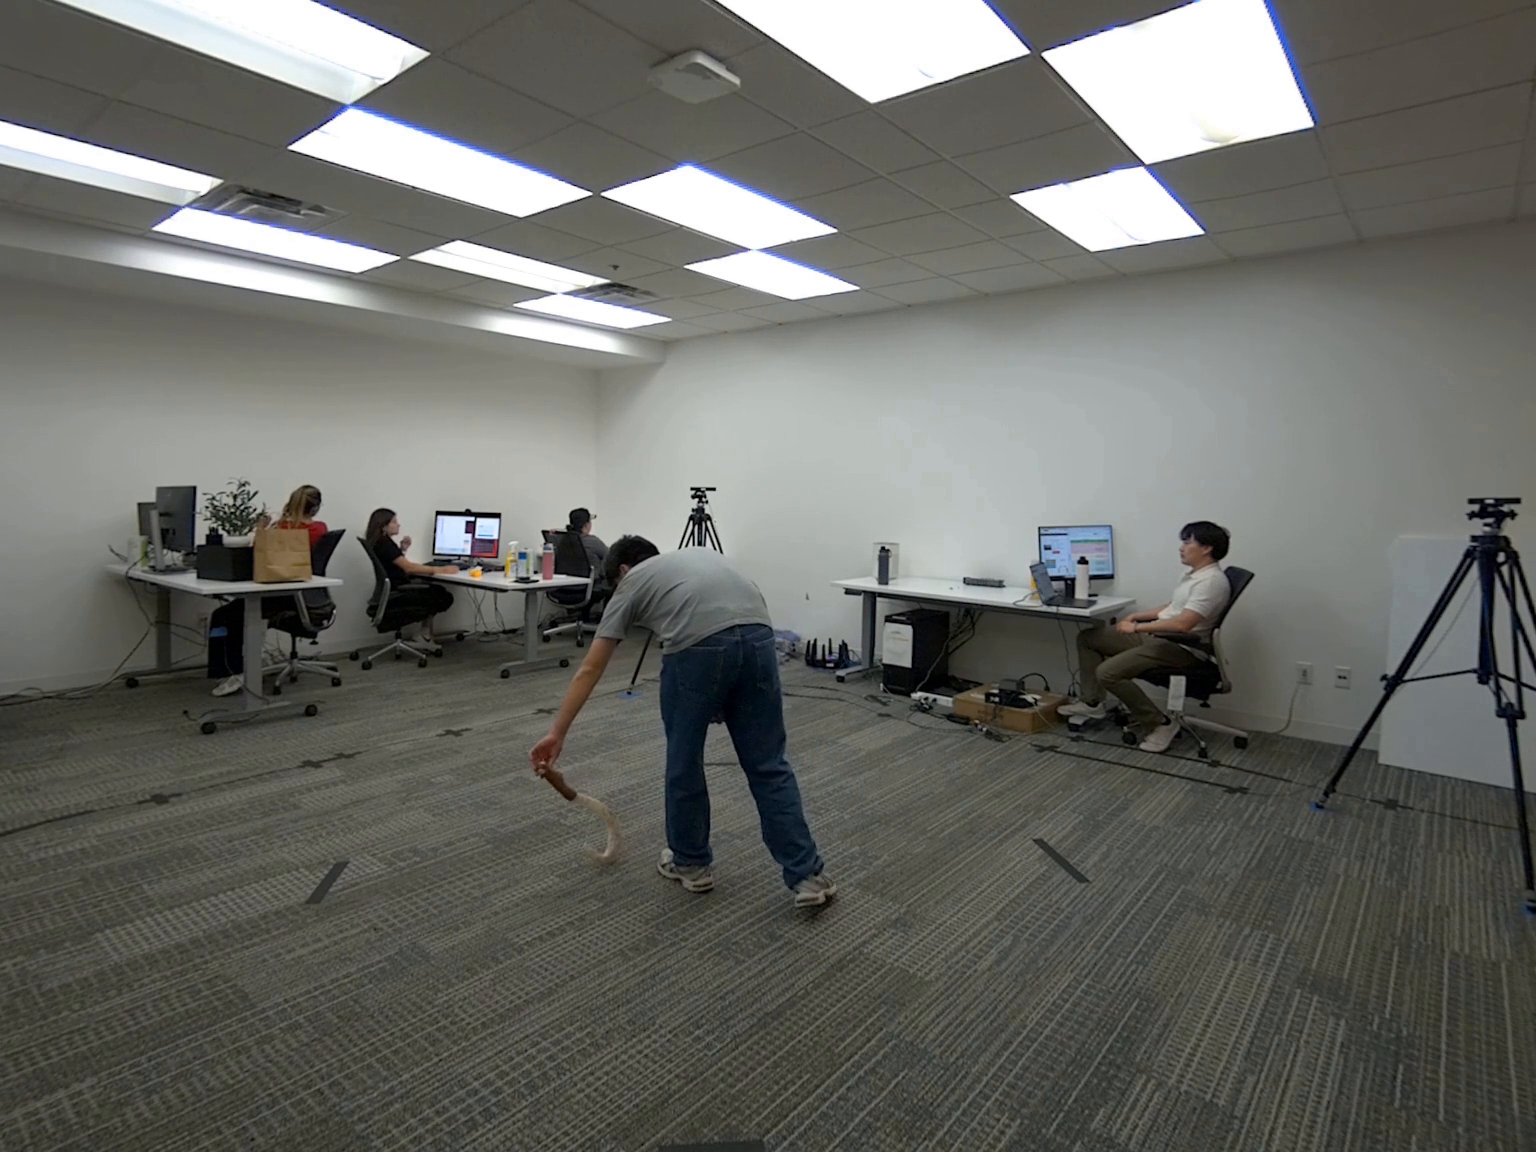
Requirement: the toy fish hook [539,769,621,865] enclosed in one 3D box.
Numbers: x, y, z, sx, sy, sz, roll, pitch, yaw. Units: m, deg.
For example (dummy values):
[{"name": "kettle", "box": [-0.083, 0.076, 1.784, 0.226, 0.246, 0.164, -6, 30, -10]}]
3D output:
[{"name": "toy fish hook", "box": [-0.685, 0.859, 3.060, 0.049, 0.488, 0.231, -27, 34, 17]}]
